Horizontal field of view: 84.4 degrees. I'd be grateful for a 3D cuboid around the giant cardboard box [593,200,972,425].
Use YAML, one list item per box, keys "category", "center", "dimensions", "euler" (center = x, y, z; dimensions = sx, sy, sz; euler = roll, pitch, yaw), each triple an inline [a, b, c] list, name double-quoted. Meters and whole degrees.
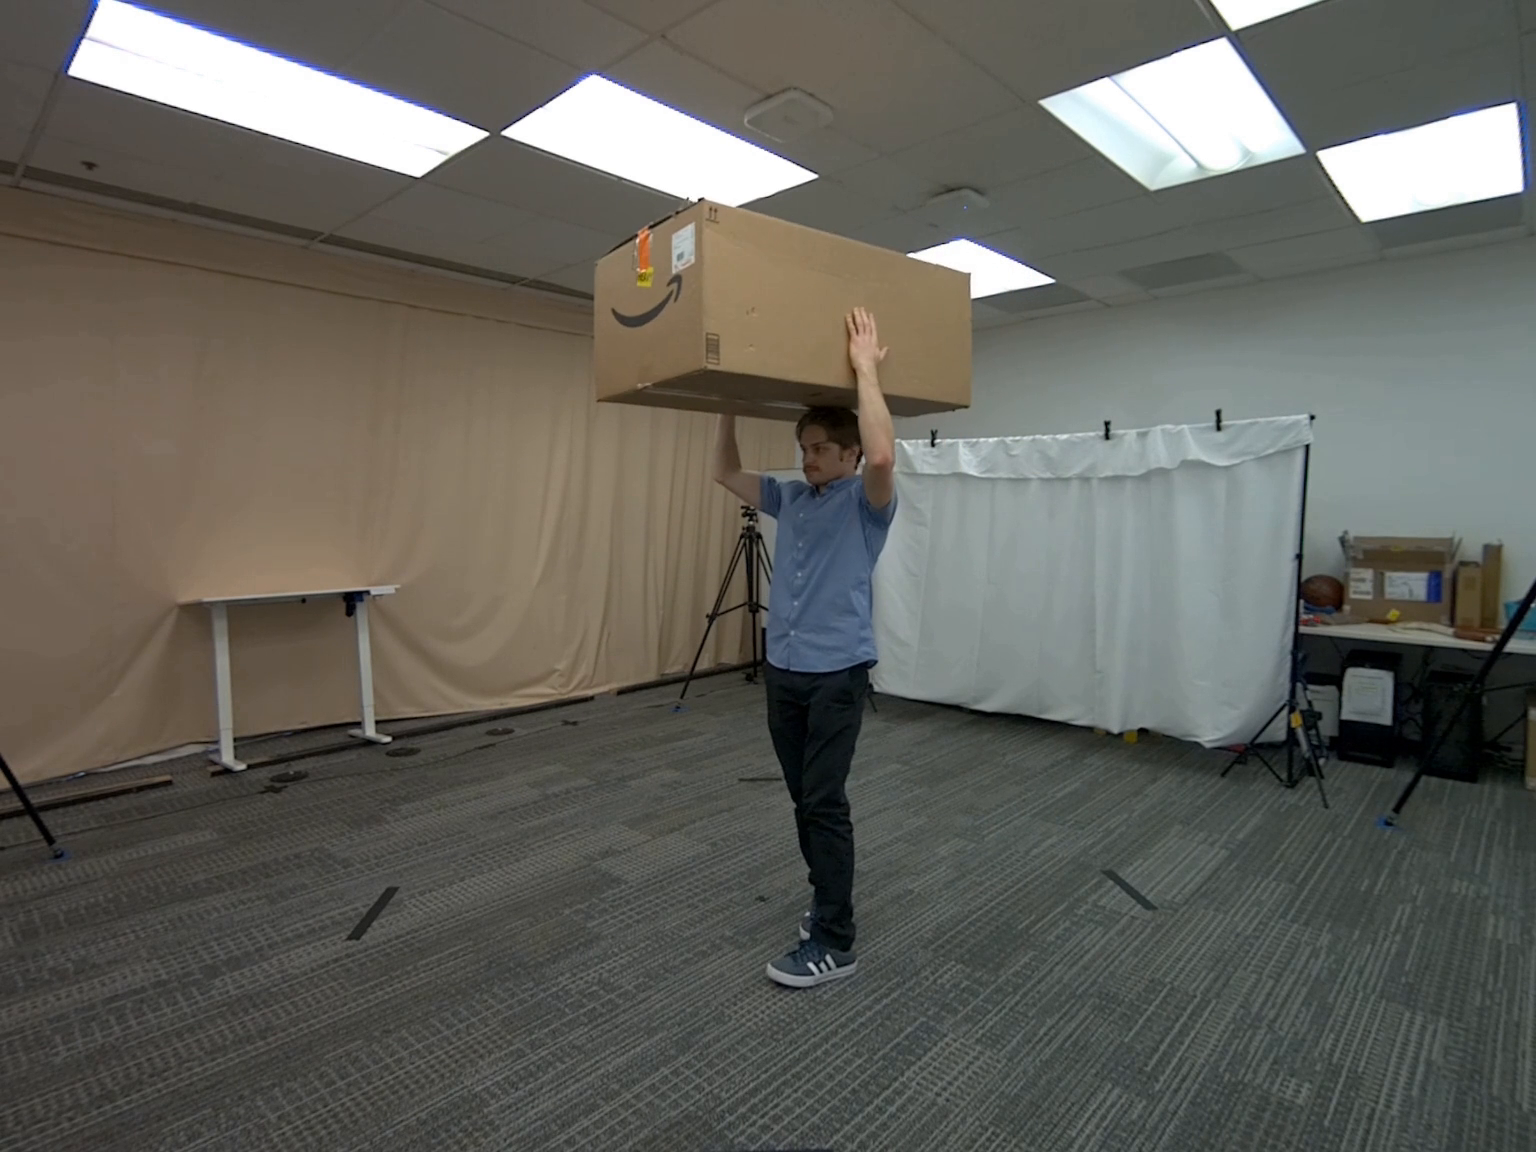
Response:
- category: "giant cardboard box"
  center: [0.067, -0.736, 2.569]
  dimensions: [0.995, 0.426, 0.595]
  euler: [-2, 2, -37]
